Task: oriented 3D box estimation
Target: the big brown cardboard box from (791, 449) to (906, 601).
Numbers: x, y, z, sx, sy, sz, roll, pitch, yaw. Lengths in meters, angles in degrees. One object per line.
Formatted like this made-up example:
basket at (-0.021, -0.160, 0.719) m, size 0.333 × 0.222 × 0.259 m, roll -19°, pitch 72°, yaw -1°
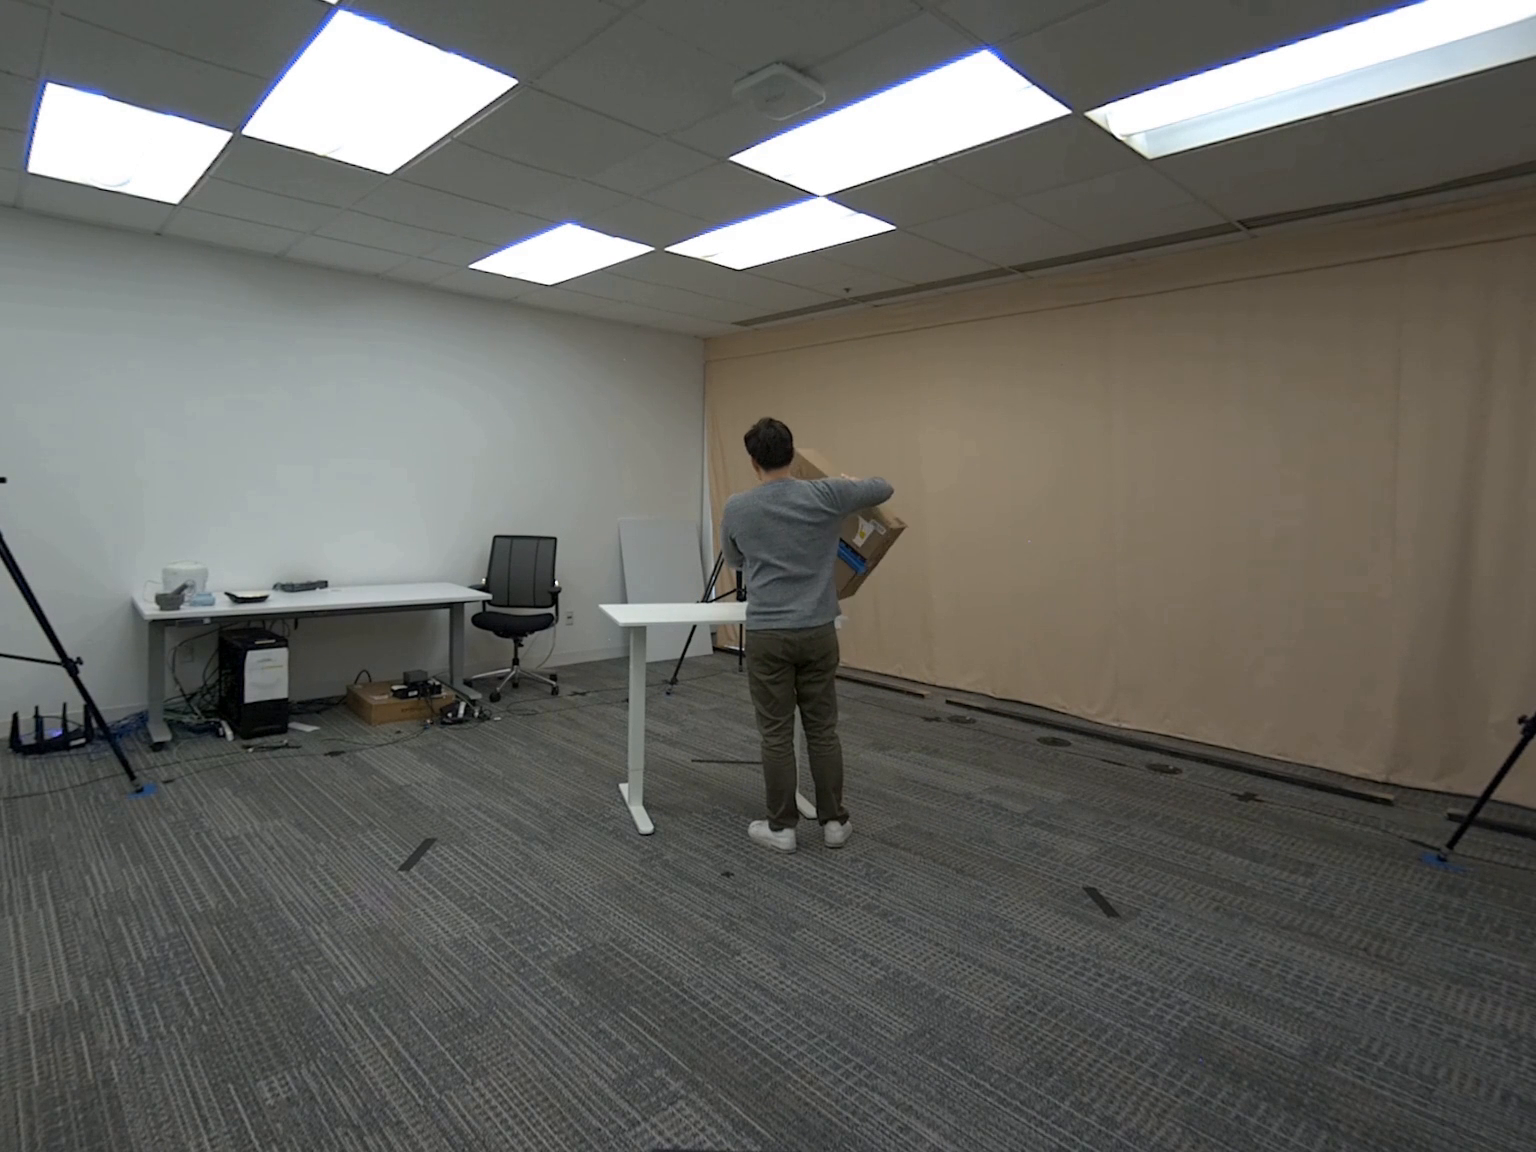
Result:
big brown cardboard box at (0.241, -0.226, 3.750) m, size 0.602 × 0.416 × 0.229 m, roll 43°, pitch 23°, yaw 21°
